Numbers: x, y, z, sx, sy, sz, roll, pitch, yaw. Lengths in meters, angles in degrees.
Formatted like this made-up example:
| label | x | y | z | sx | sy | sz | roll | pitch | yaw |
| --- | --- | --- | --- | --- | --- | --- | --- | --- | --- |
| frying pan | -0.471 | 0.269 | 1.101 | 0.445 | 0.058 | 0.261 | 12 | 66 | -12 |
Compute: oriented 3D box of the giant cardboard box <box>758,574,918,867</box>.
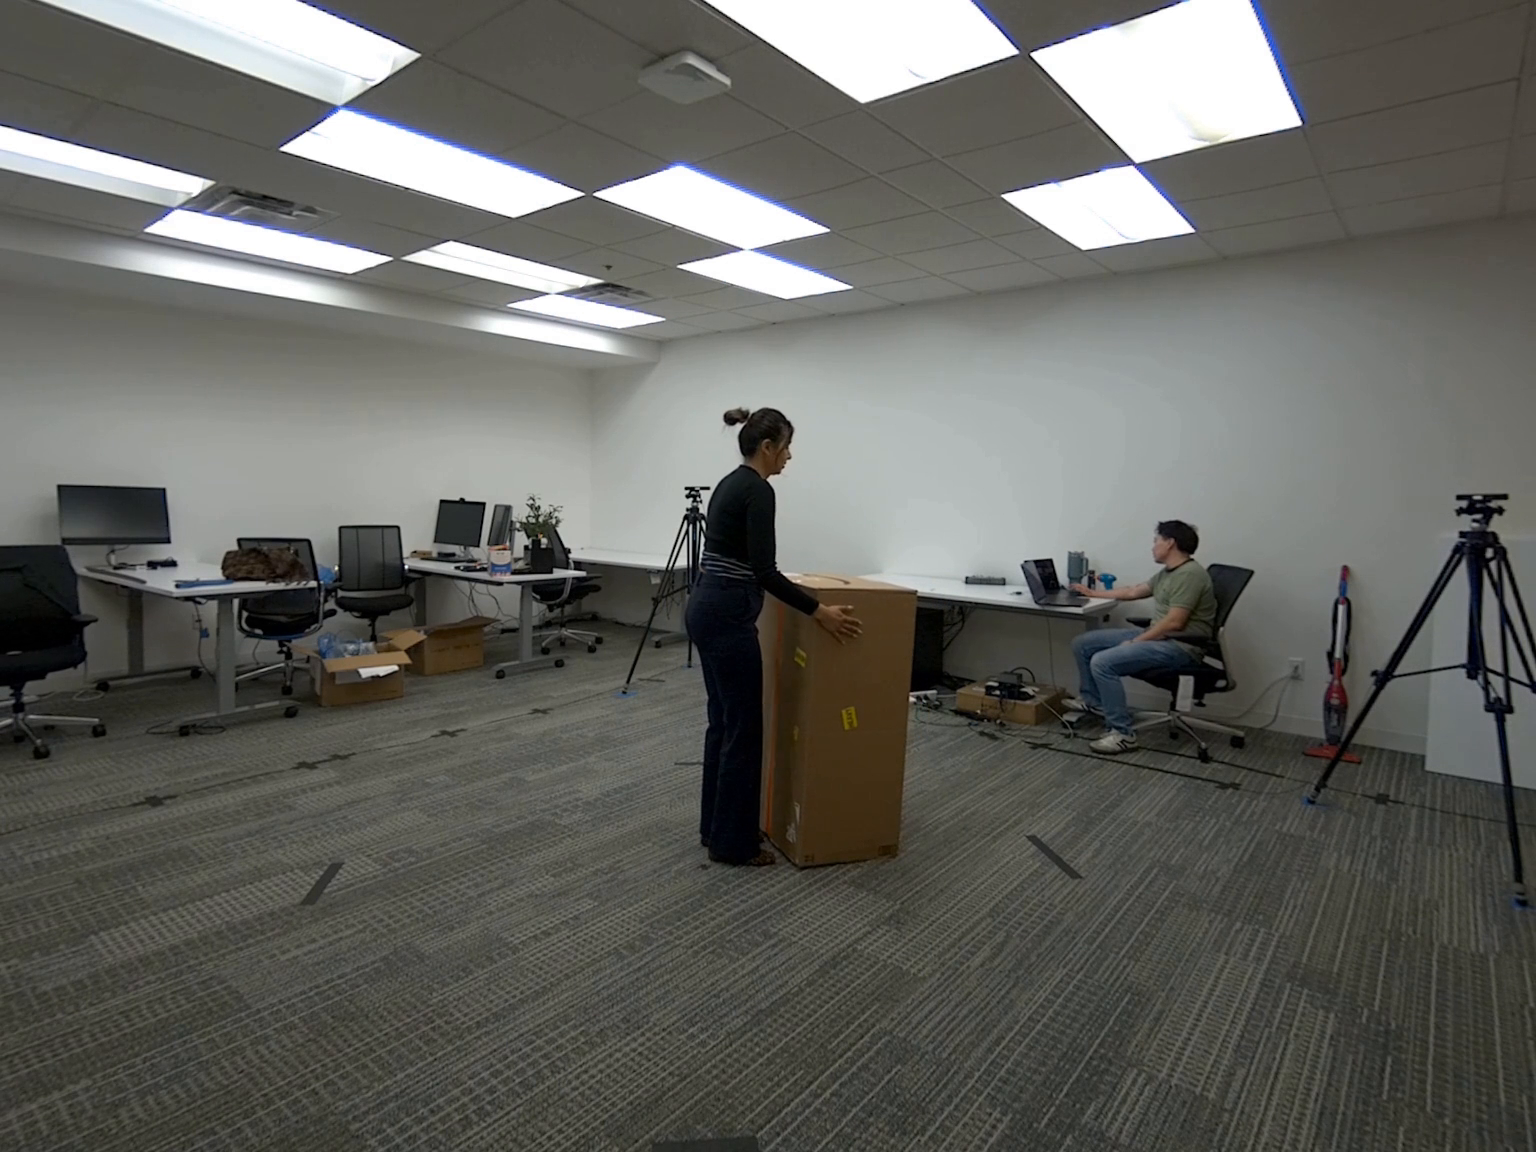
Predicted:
| label | x | y | z | sx | sy | sz | roll | pitch | yaw |
| --- | --- | --- | --- | --- | --- | --- | --- | --- | --- |
| giant cardboard box | 0.215 | 0.528 | 3.409 | 0.417 | 1.023 | 0.592 | 2 | 3 | -22 |
